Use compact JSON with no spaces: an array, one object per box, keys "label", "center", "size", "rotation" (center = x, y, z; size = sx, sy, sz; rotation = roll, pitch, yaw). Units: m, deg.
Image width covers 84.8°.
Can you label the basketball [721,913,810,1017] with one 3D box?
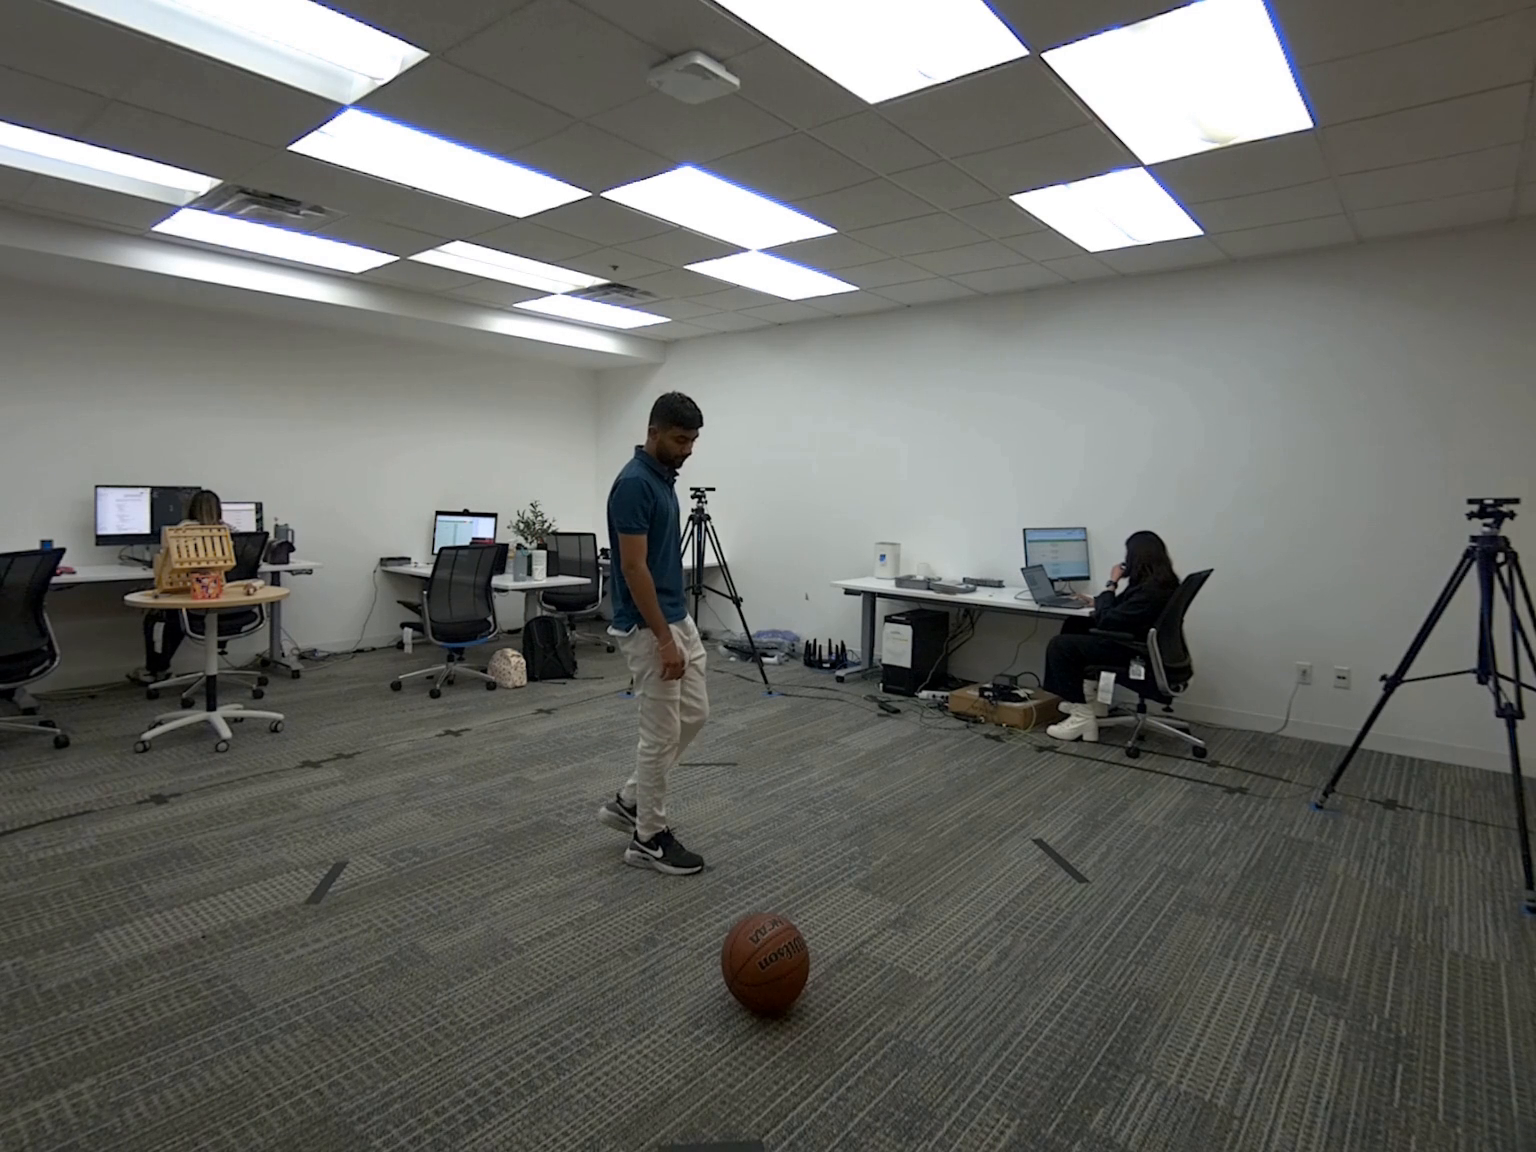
[{"label":"basketball","center":[-0.010,1.035,2.285],"size":[0.235,0.235,0.237],"rotation":[1,4,-2]}]
